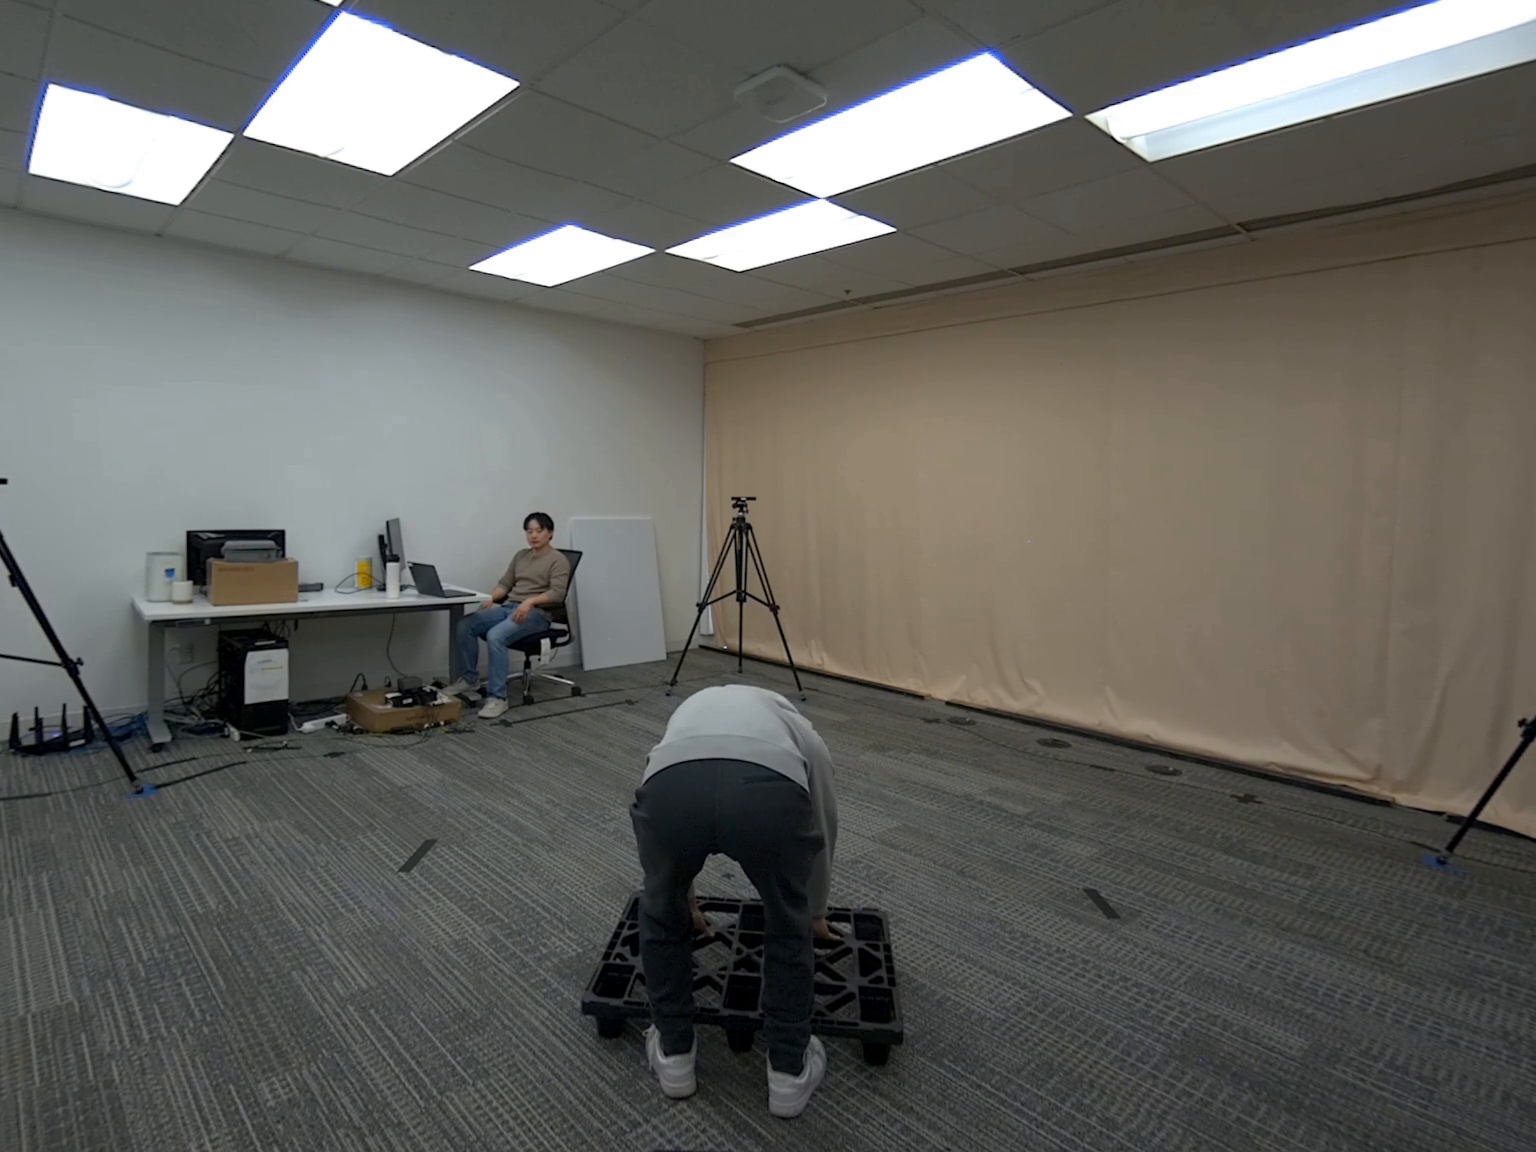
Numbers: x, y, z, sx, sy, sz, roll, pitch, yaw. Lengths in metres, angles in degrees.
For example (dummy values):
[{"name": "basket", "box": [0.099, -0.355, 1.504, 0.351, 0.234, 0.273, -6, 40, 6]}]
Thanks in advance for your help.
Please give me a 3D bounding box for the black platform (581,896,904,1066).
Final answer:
[{"name": "black platform", "box": [-0.054, 1.111, 2.348, 0.810, 0.143, 0.604, 2, 7, 6]}]
